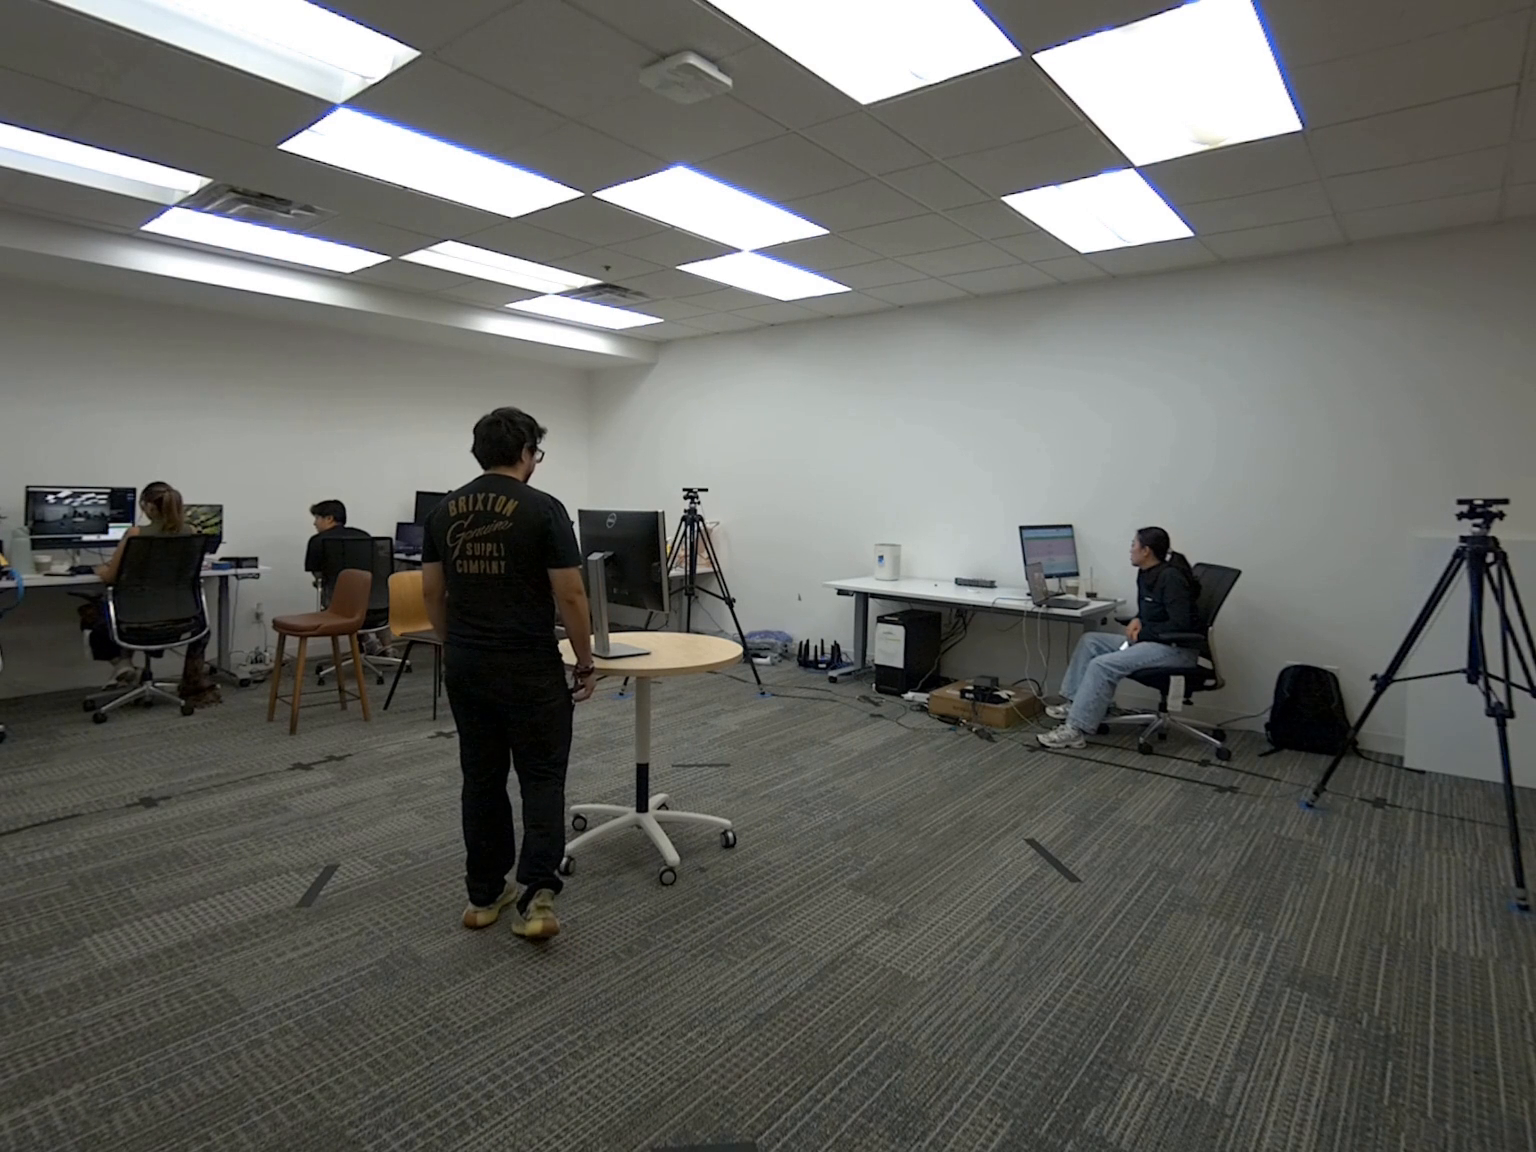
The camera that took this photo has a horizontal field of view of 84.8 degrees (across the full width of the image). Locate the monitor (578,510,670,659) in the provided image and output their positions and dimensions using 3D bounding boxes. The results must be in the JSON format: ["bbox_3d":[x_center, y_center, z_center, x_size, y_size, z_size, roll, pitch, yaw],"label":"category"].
[{"bbox_3d":[-0.611,0.020,3.159,0.204,0.552,0.584,-4,6,-41],"label":"monitor"}]
